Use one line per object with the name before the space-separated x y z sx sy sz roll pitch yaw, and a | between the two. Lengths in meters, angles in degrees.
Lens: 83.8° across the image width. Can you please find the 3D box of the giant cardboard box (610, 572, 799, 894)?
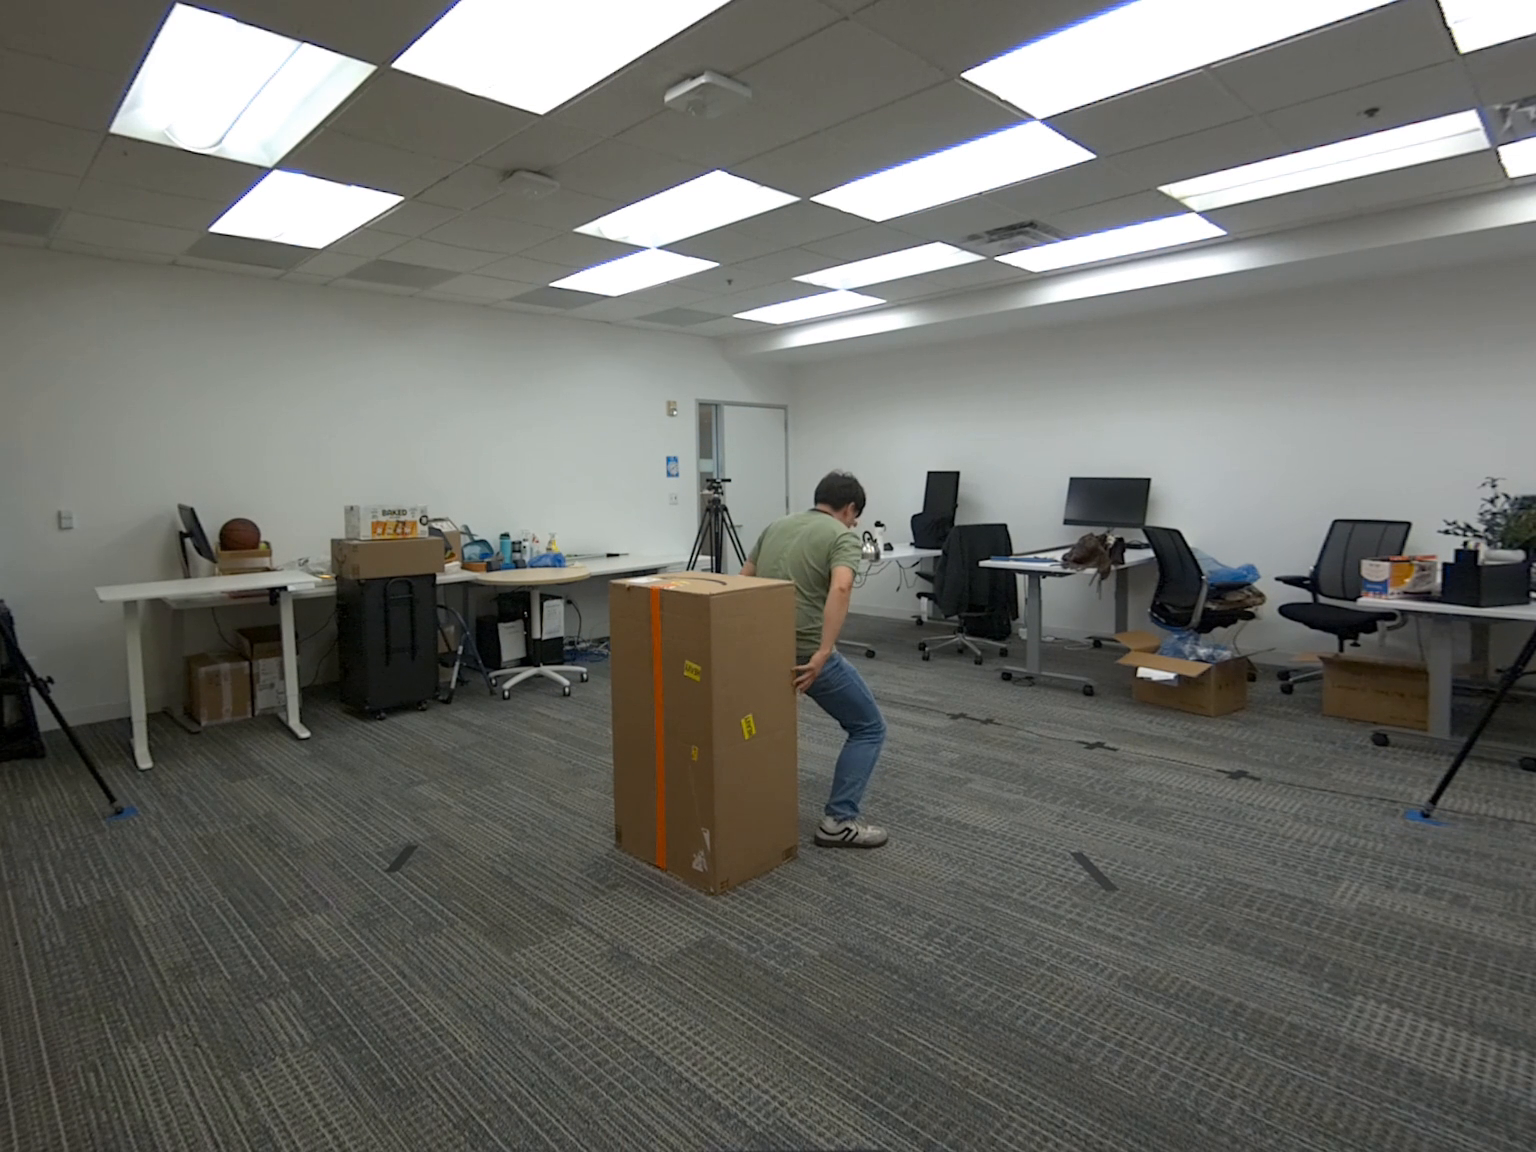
giant cardboard box | -0.246 0.529 3.171 0.415 1.022 0.595 -4 5 -44
